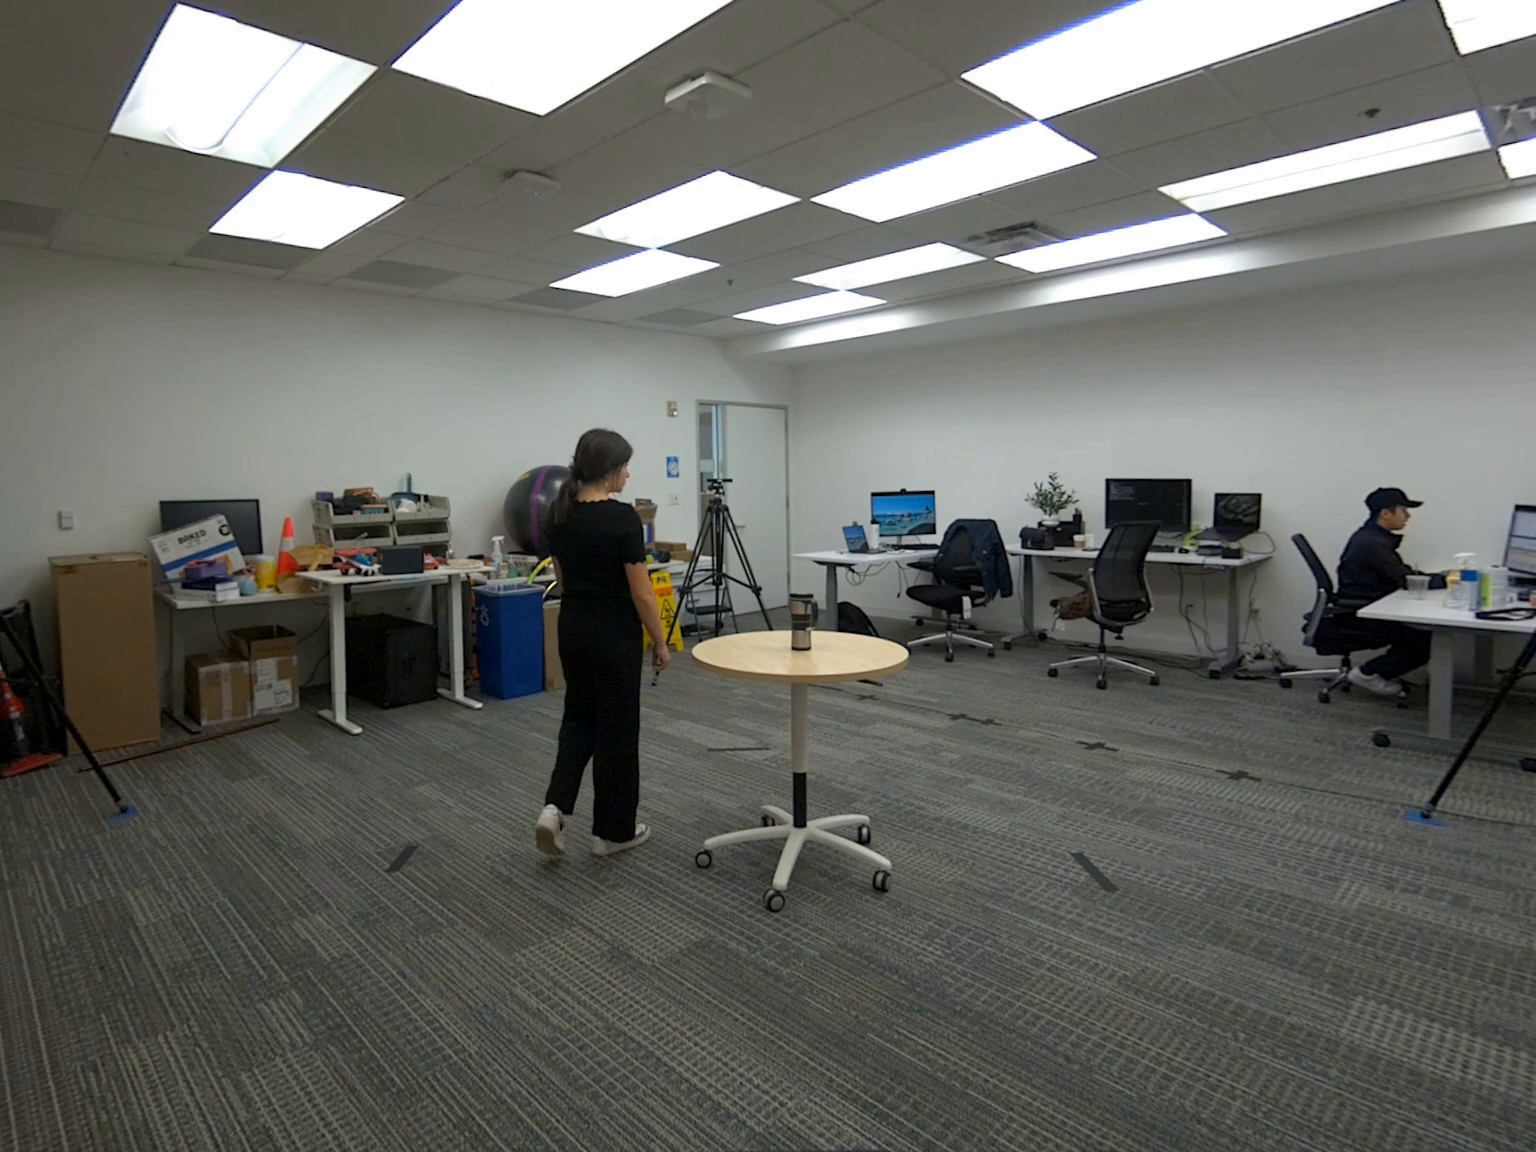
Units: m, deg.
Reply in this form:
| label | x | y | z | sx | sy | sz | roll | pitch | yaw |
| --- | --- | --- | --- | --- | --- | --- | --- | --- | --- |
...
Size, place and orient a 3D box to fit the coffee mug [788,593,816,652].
| label | x | y | z | sx | sy | sz | roll | pitch | yaw |
| --- | --- | --- | --- | --- | --- | --- | --- | --- | --- |
| coffee mug | 0.110 | 0.163 | 3.034 | 0.089 | 0.202 | 0.120 | 4 | 4 | 16 |
